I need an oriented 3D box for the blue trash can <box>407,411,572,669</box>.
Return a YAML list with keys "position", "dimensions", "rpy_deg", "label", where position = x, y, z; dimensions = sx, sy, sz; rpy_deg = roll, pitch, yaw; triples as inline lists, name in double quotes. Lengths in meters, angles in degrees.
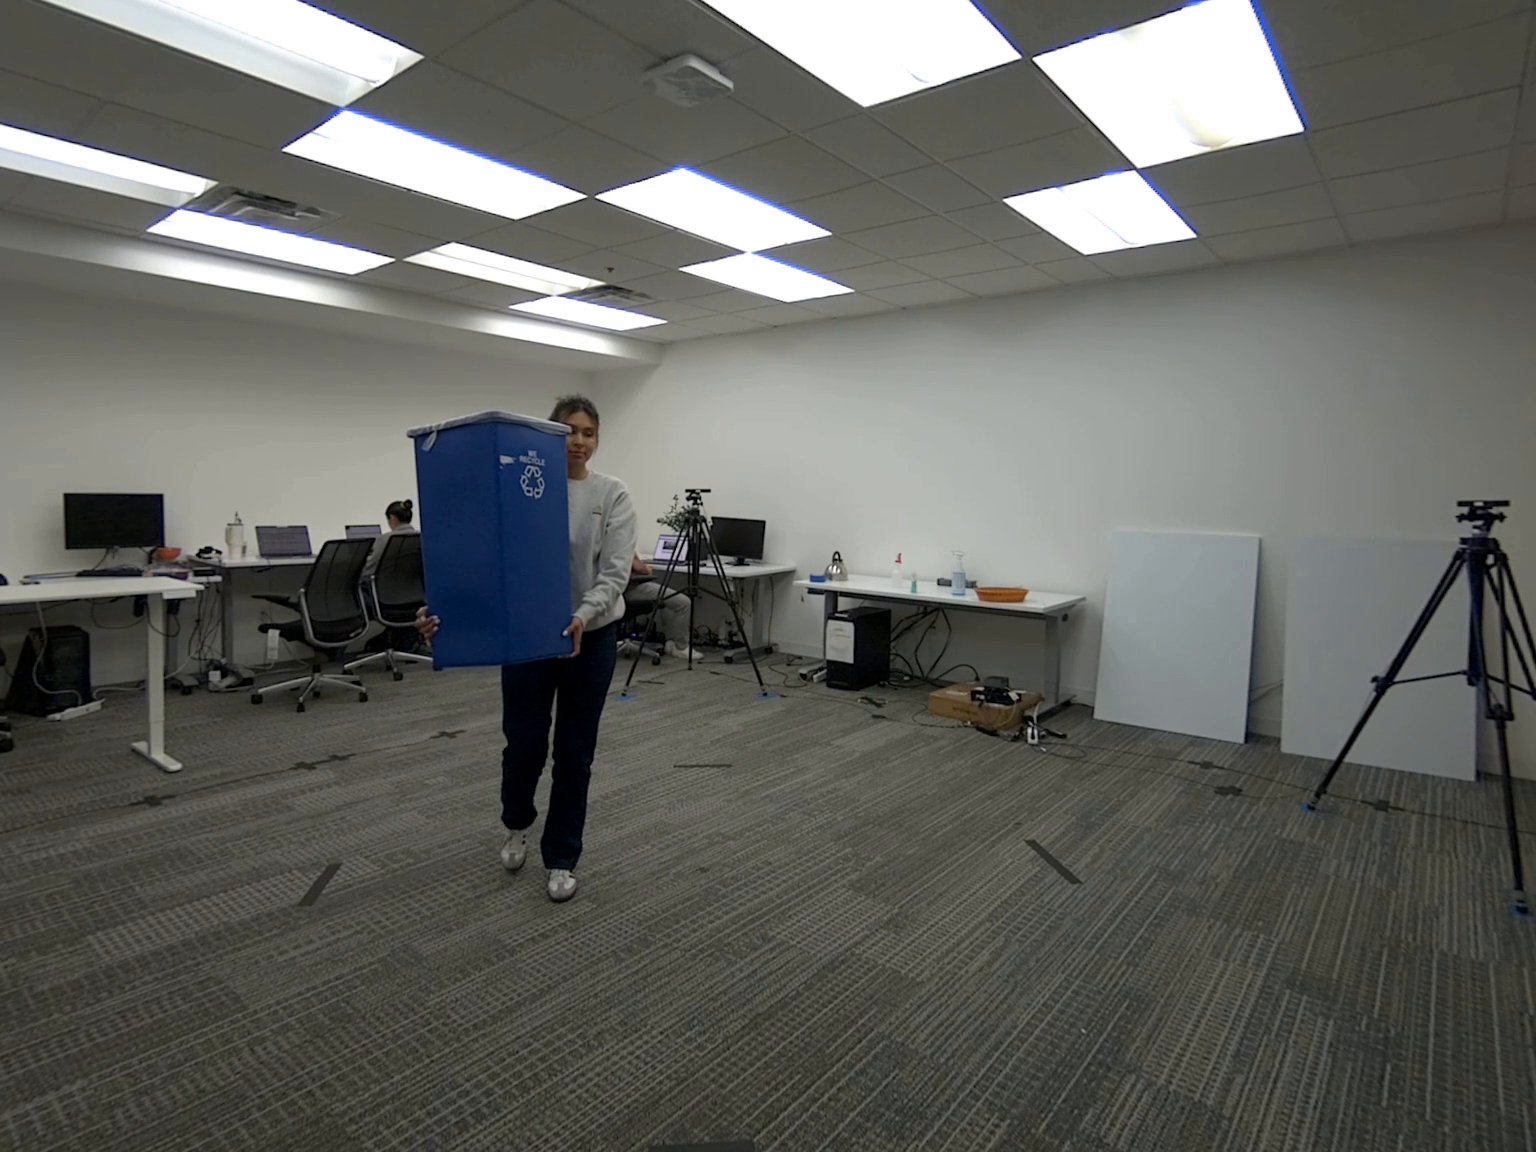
- position: [-0.840, -0.106, 2.596]
  dimensions: [0.387, 0.717, 0.364]
  rpy_deg: [-5, -4, 25]
  label: "blue trash can"
